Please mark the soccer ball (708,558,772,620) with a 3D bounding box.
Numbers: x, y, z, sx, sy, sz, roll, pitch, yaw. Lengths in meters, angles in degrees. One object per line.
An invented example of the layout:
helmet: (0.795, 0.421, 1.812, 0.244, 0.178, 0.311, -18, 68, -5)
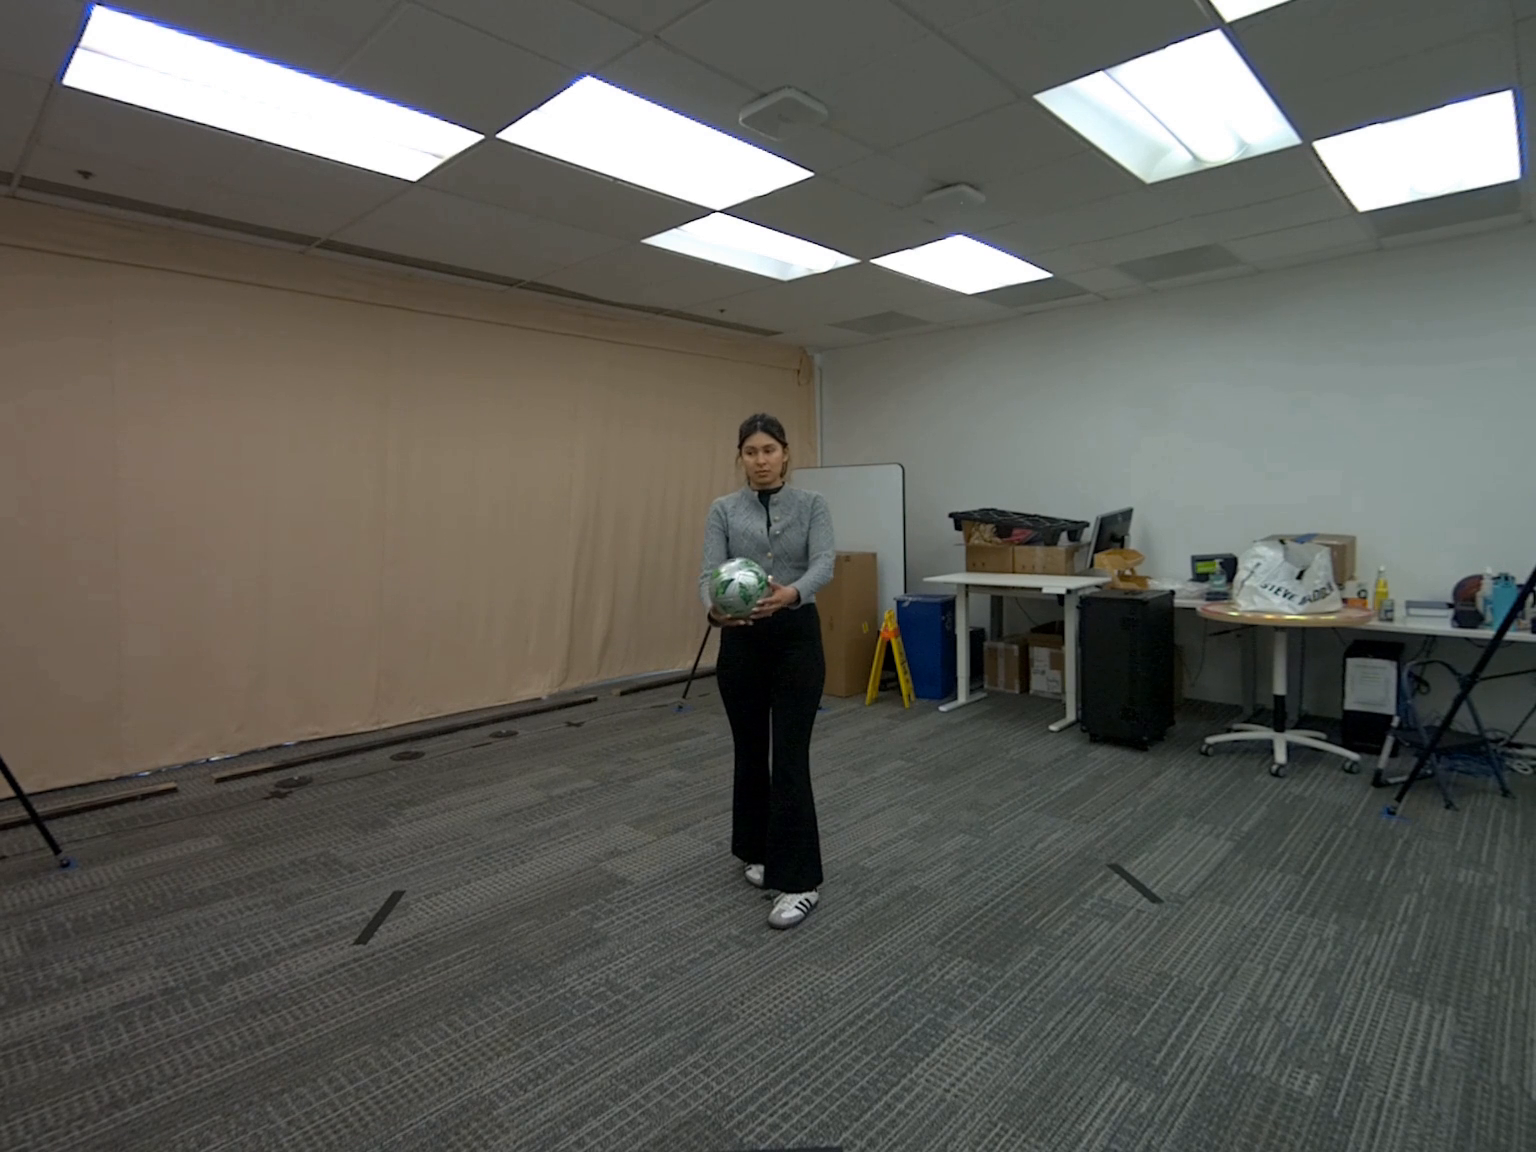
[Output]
soccer ball: (-0.085, 0.037, 2.577, 0.187, 0.187, 0.188, -1, 4, -2)
